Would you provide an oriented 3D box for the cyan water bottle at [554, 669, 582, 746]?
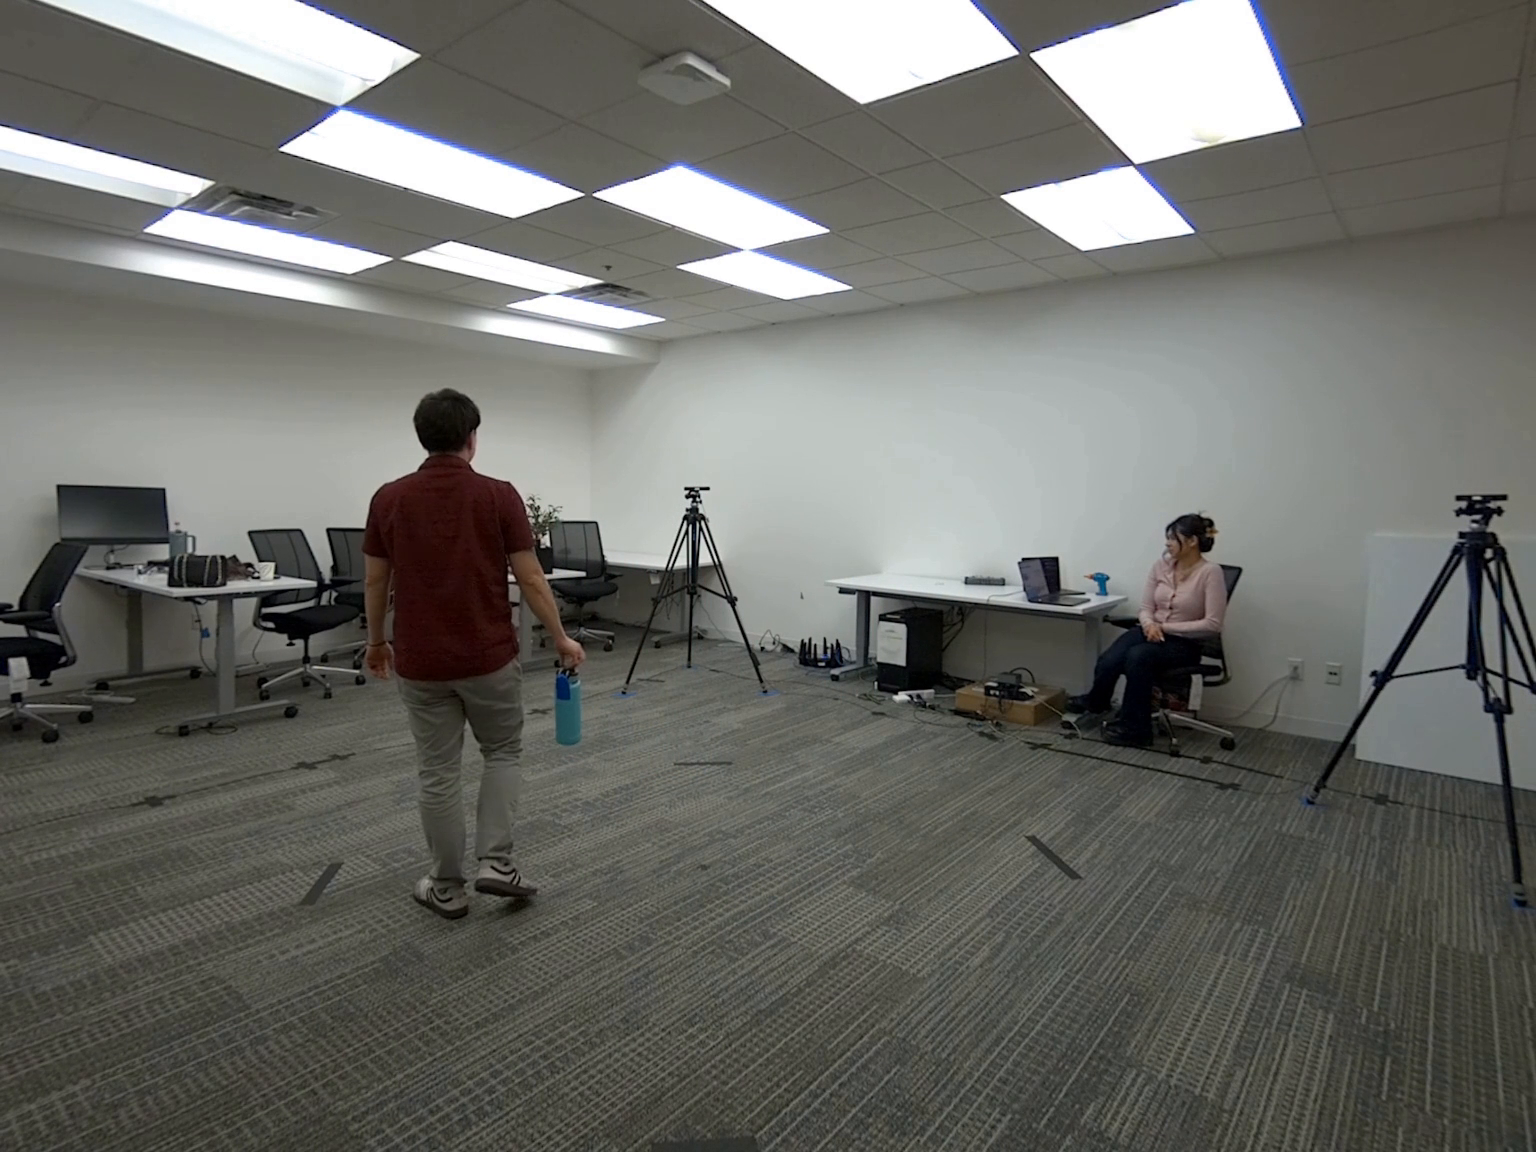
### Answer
[{"bbox_3d":[-0.711,0.446,2.913,0.092,0.279,0.094,3,17,-3],"label":"cyan water bottle"}]
